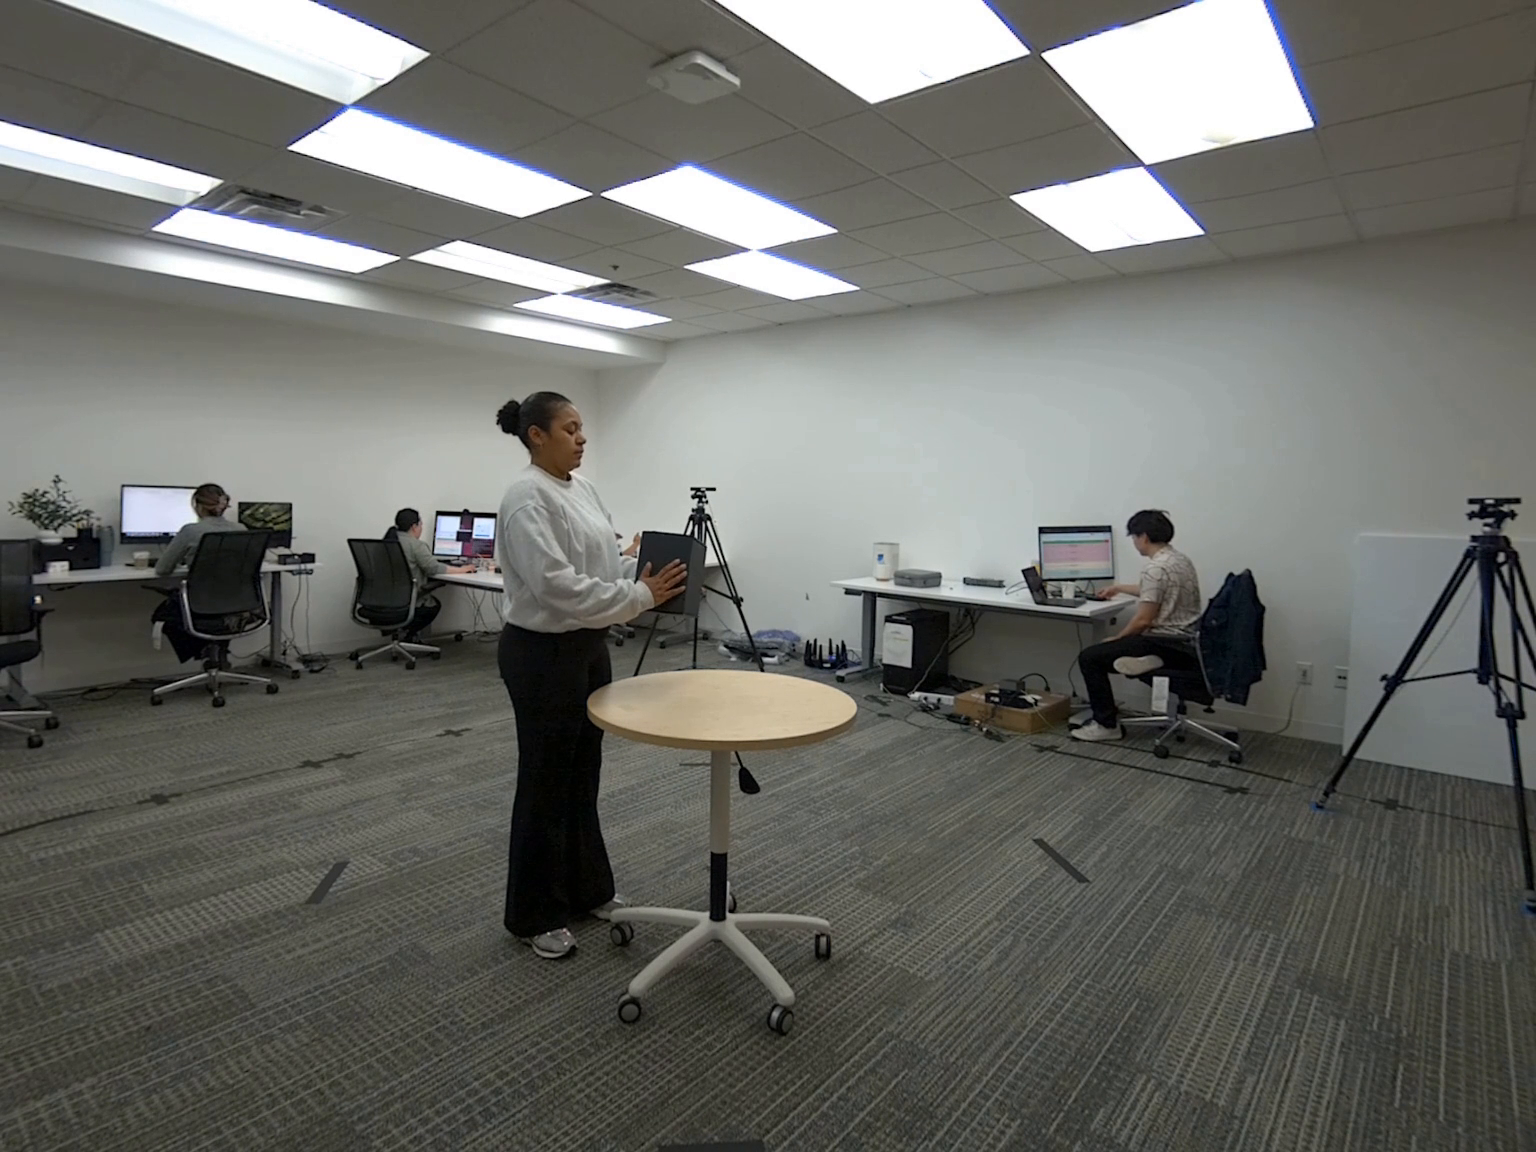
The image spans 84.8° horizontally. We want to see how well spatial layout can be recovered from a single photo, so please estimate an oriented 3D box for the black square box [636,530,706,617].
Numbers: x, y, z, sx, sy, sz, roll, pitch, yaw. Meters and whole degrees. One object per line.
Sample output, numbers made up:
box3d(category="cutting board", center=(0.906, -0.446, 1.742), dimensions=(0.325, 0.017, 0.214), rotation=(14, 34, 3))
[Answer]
box3d(category="black square box", center=(-0.302, -0.005, 2.534), dimensions=(0.157, 0.229, 0.214), rotation=(7, -6, 7))
